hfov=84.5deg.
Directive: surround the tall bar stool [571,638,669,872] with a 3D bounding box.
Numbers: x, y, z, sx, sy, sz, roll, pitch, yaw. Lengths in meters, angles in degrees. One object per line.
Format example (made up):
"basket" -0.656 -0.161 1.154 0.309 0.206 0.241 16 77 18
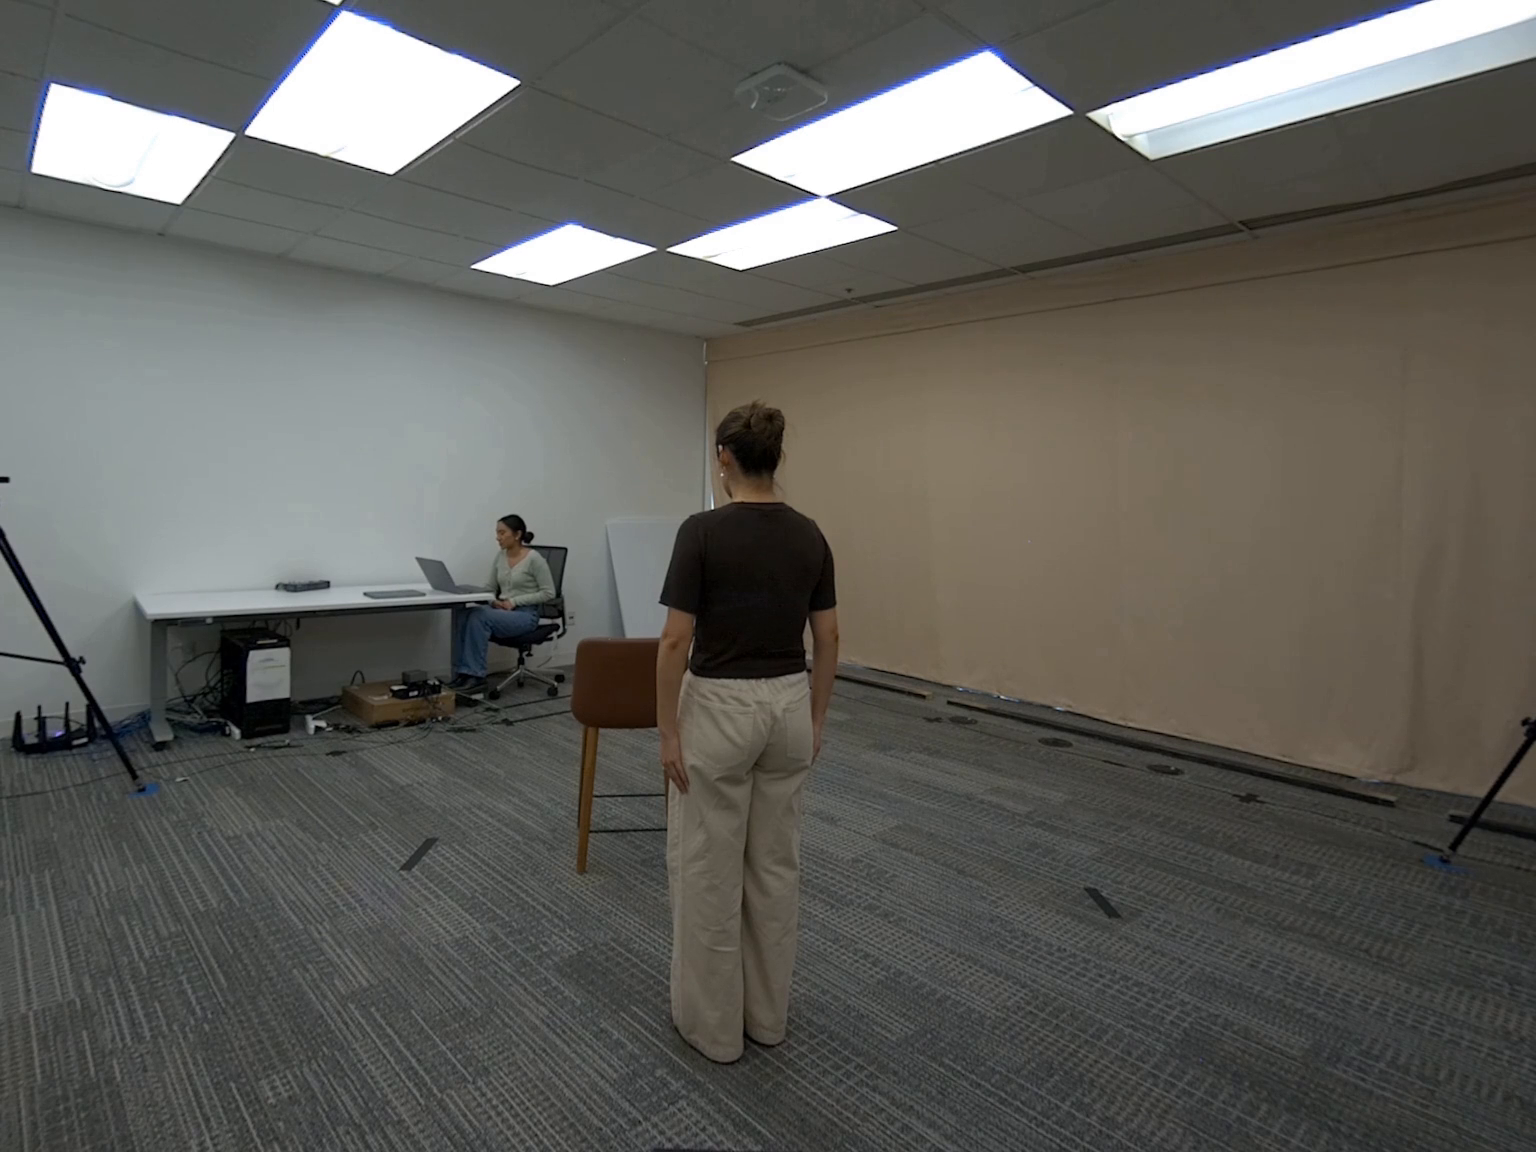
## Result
"tall bar stool" -0.546 0.640 3.296 0.453 0.886 0.472 0 5 -9
